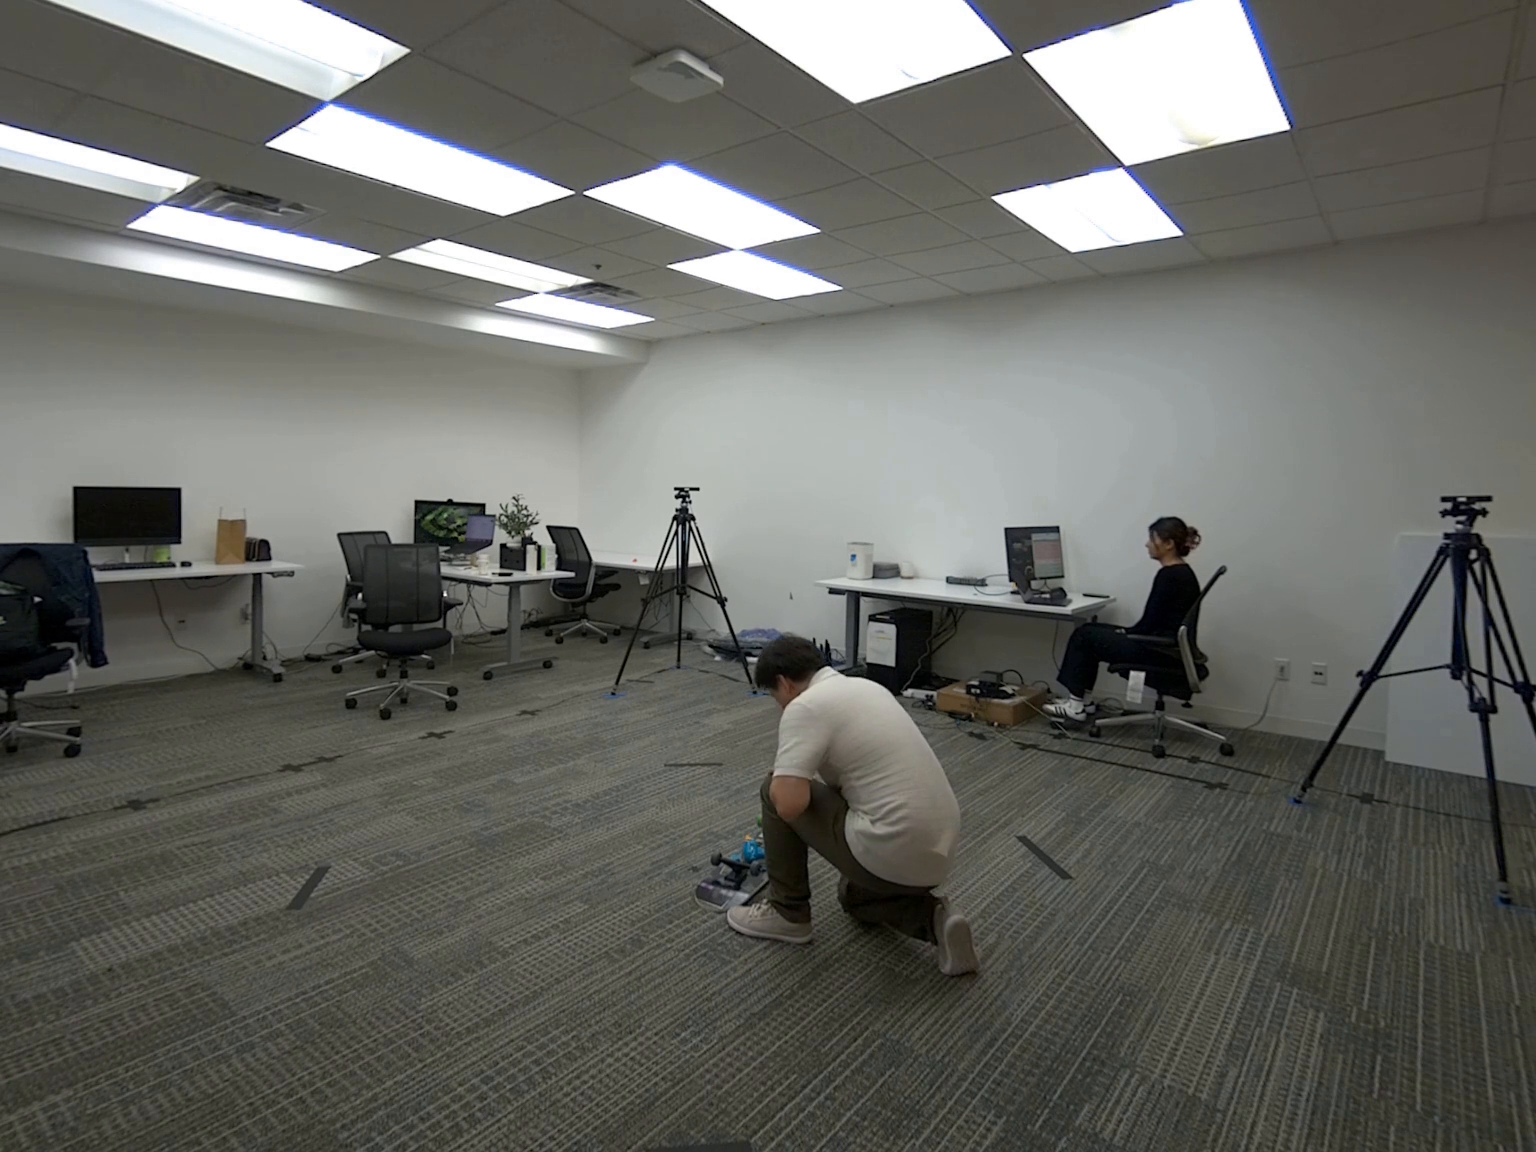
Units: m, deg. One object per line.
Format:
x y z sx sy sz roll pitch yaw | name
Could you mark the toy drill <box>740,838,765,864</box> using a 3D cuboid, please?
-0.032 1.005 3.144 0.145 0.060 0.172 1 12 -6 | toy drill
